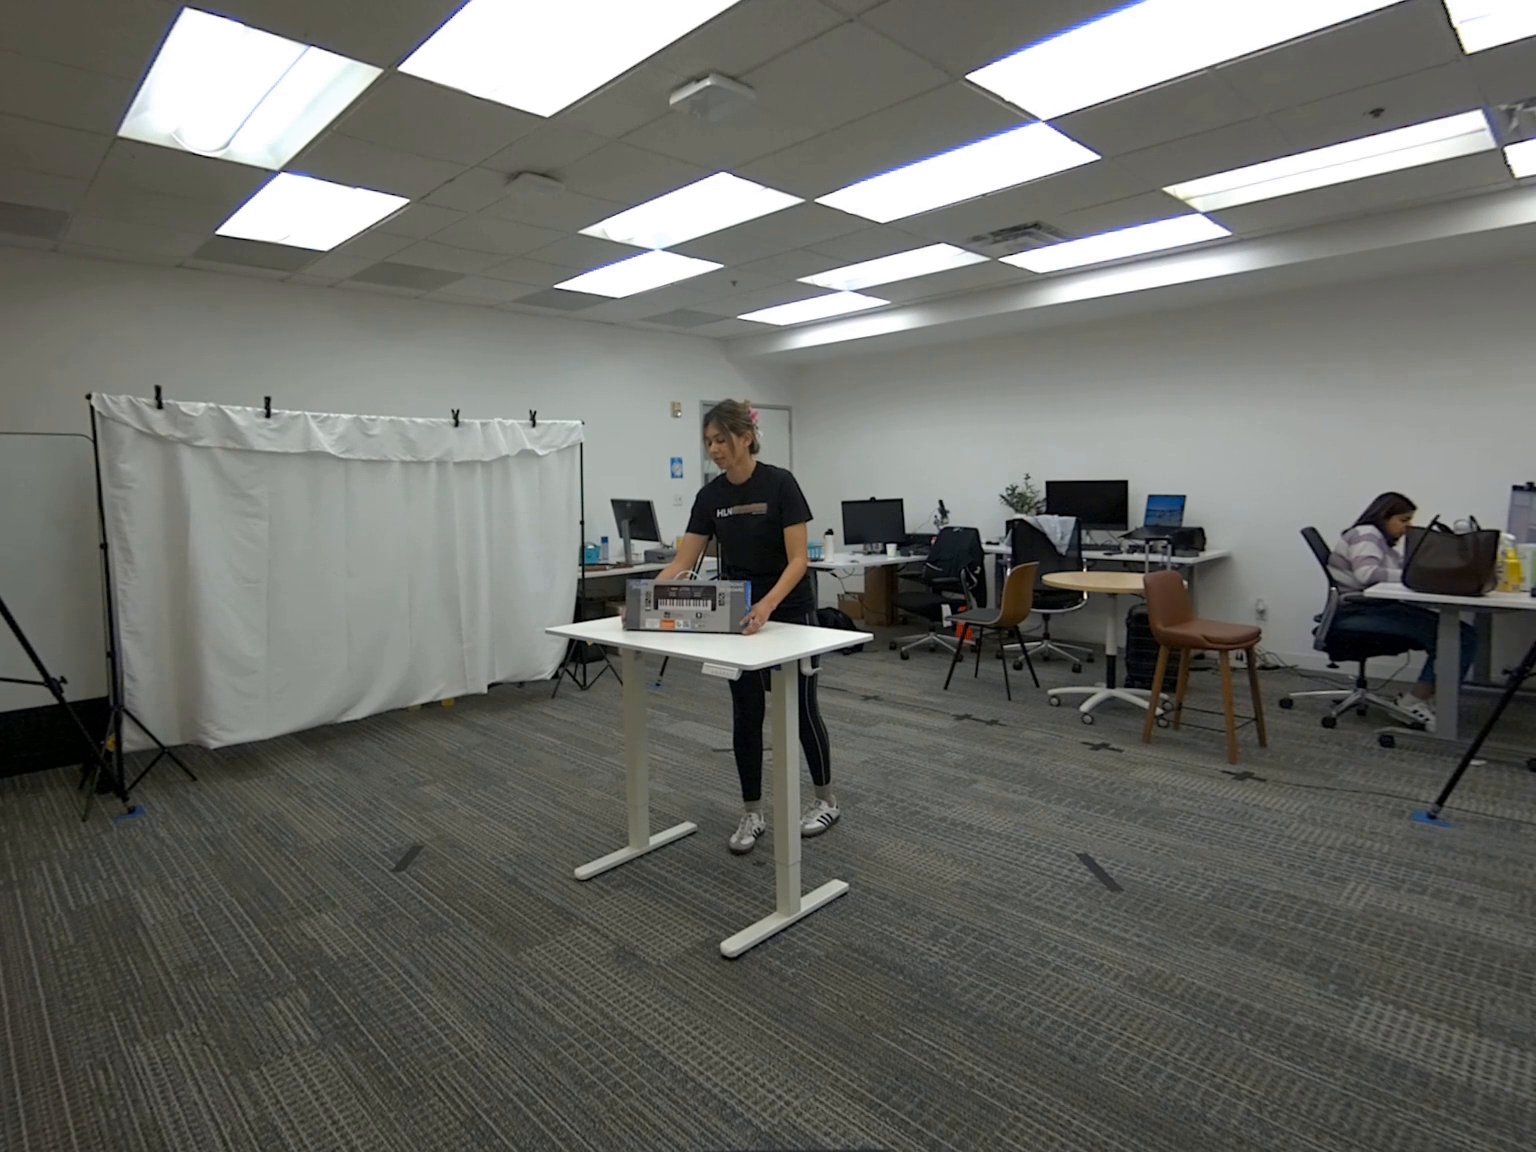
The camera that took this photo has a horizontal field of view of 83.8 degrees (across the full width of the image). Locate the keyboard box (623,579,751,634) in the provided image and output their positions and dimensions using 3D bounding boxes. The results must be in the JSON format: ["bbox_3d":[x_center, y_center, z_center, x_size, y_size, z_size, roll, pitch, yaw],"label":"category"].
[{"bbox_3d":[-0.276,0.104,2.922,0.444,0.176,0.058,0,-3,18],"label":"keyboard box"}]
